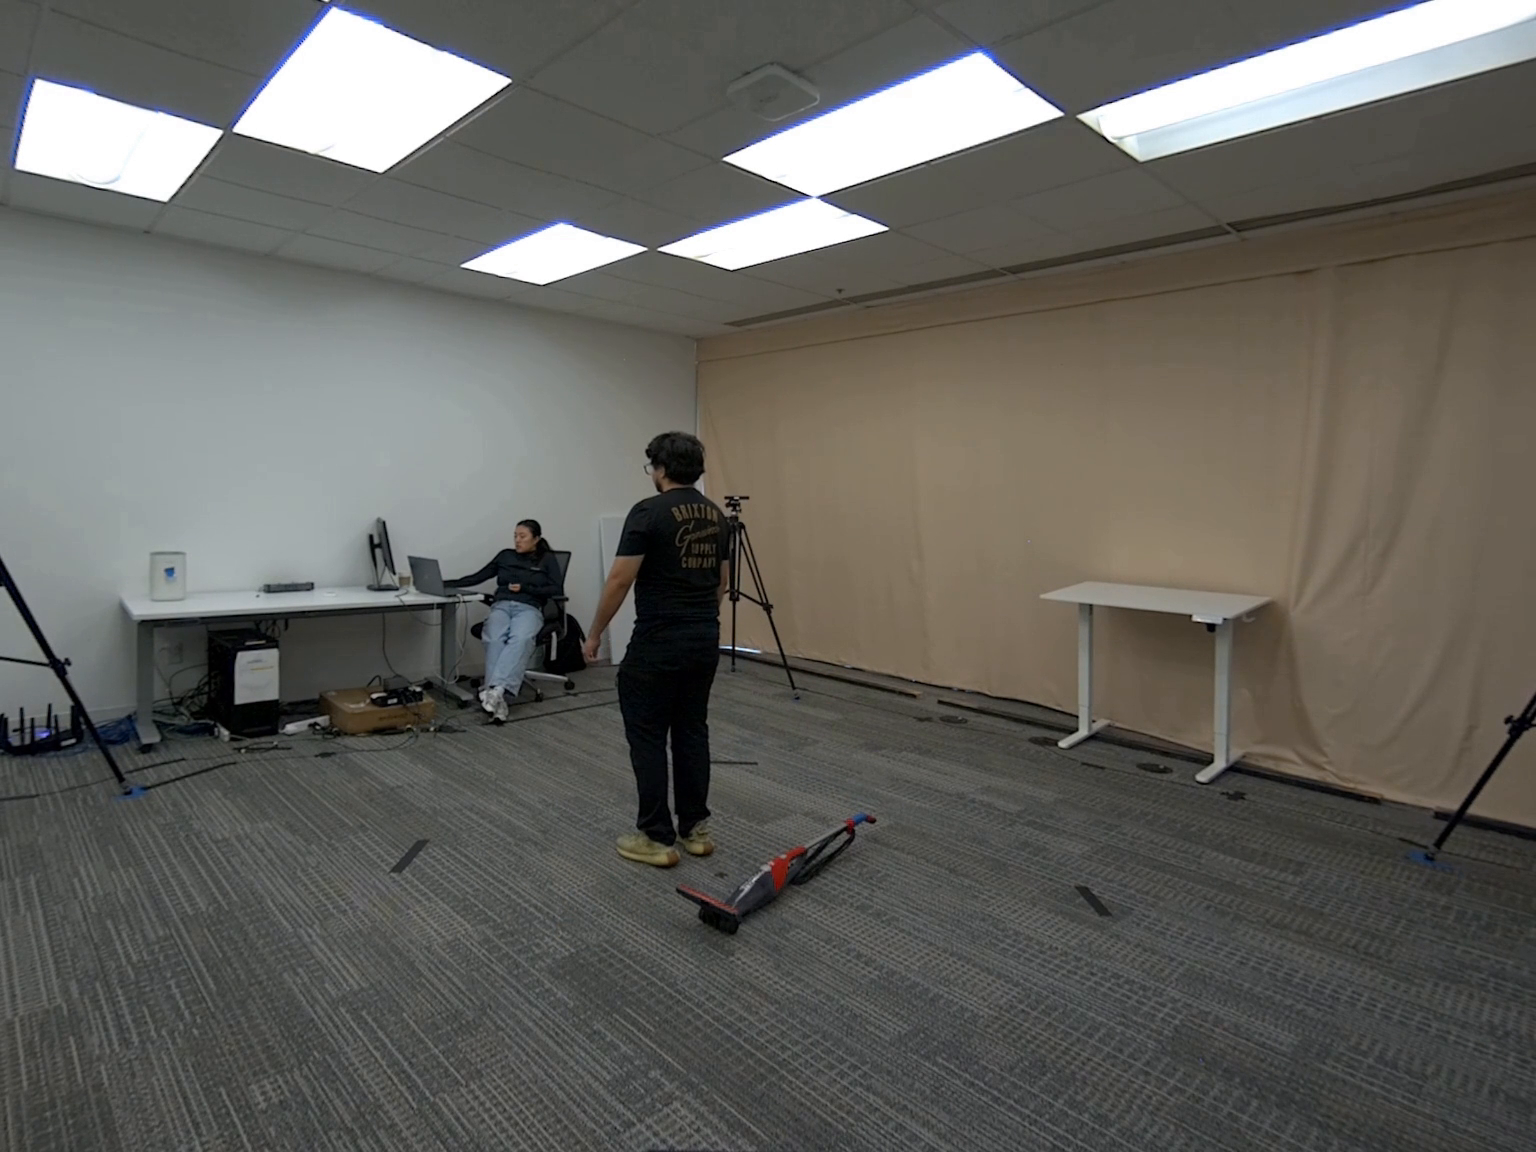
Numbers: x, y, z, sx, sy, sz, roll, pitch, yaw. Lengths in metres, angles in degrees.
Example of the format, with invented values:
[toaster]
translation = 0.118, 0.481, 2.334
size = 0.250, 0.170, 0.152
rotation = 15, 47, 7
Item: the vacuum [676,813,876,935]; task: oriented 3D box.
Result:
[vacuum]
translation = 0.125, 1.053, 3.088
size = 0.259, 0.143, 1.026
rotation = 4, 5, 38
